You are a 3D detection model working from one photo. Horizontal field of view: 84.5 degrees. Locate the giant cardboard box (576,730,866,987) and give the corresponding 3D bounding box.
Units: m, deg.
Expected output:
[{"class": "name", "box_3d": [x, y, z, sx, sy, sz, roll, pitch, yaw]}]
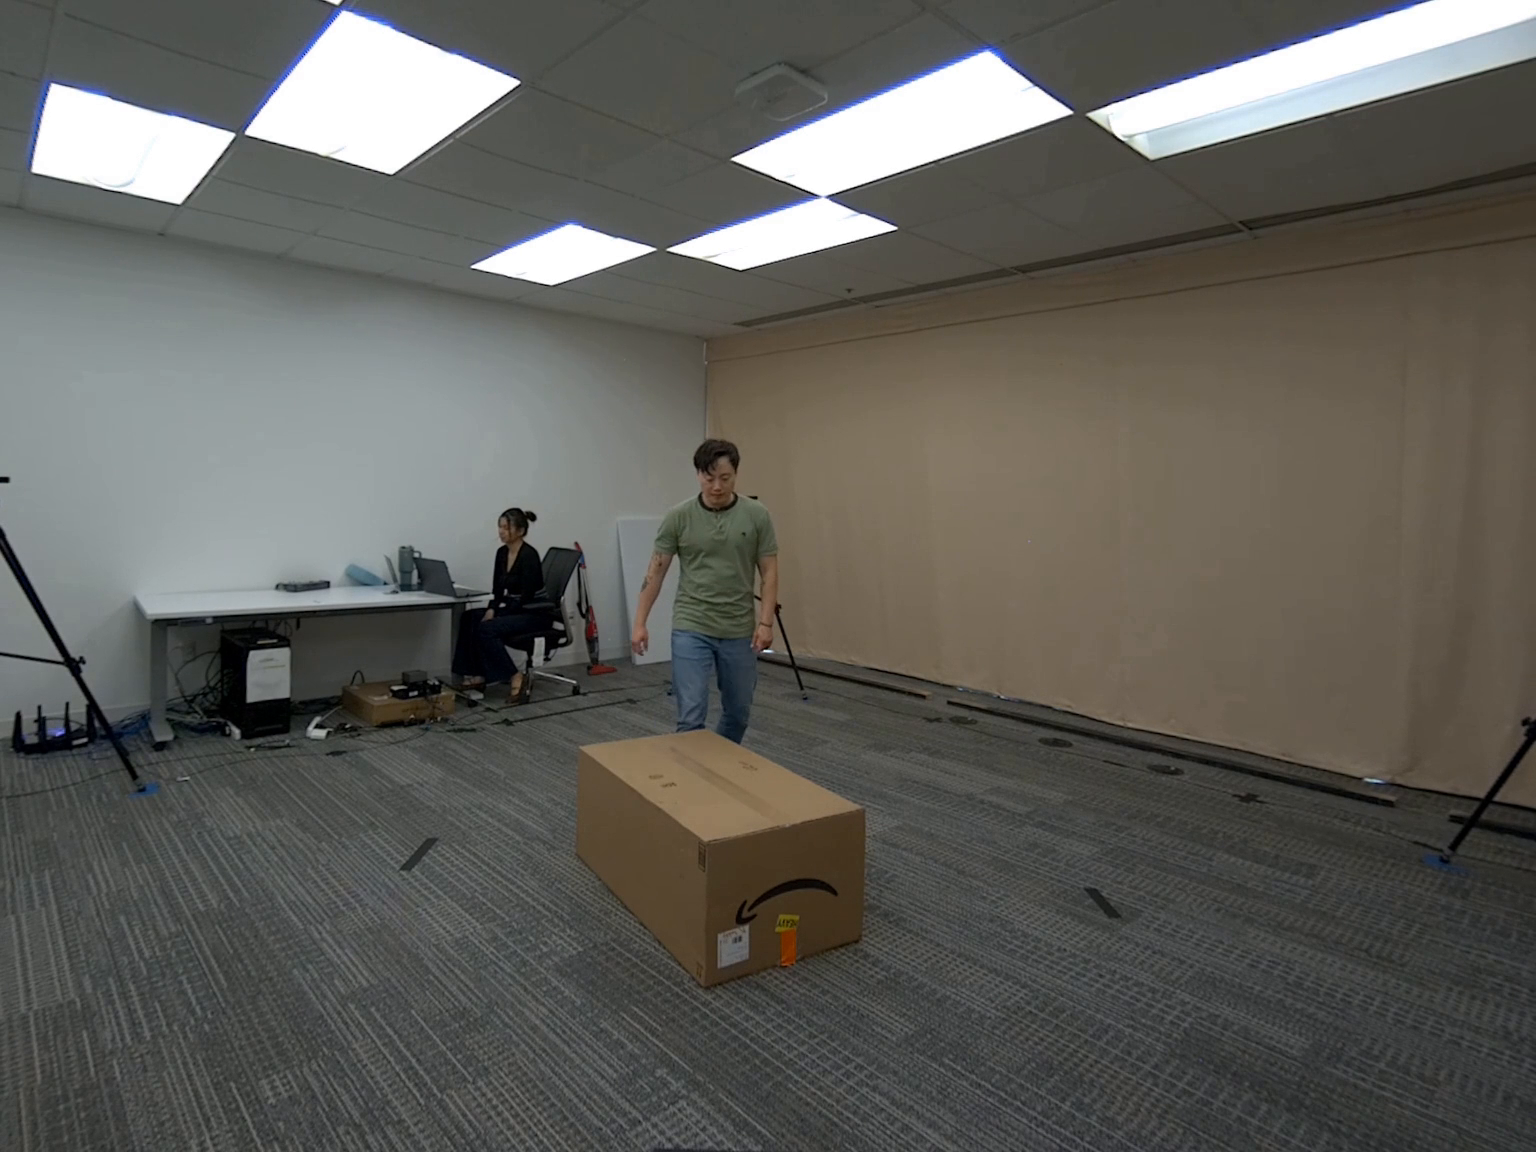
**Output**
[{"class": "giant cardboard box", "box_3d": [-0.222, 0.906, 2.937, 0.565, 0.425, 1.050, -2, 6, -32]}]
